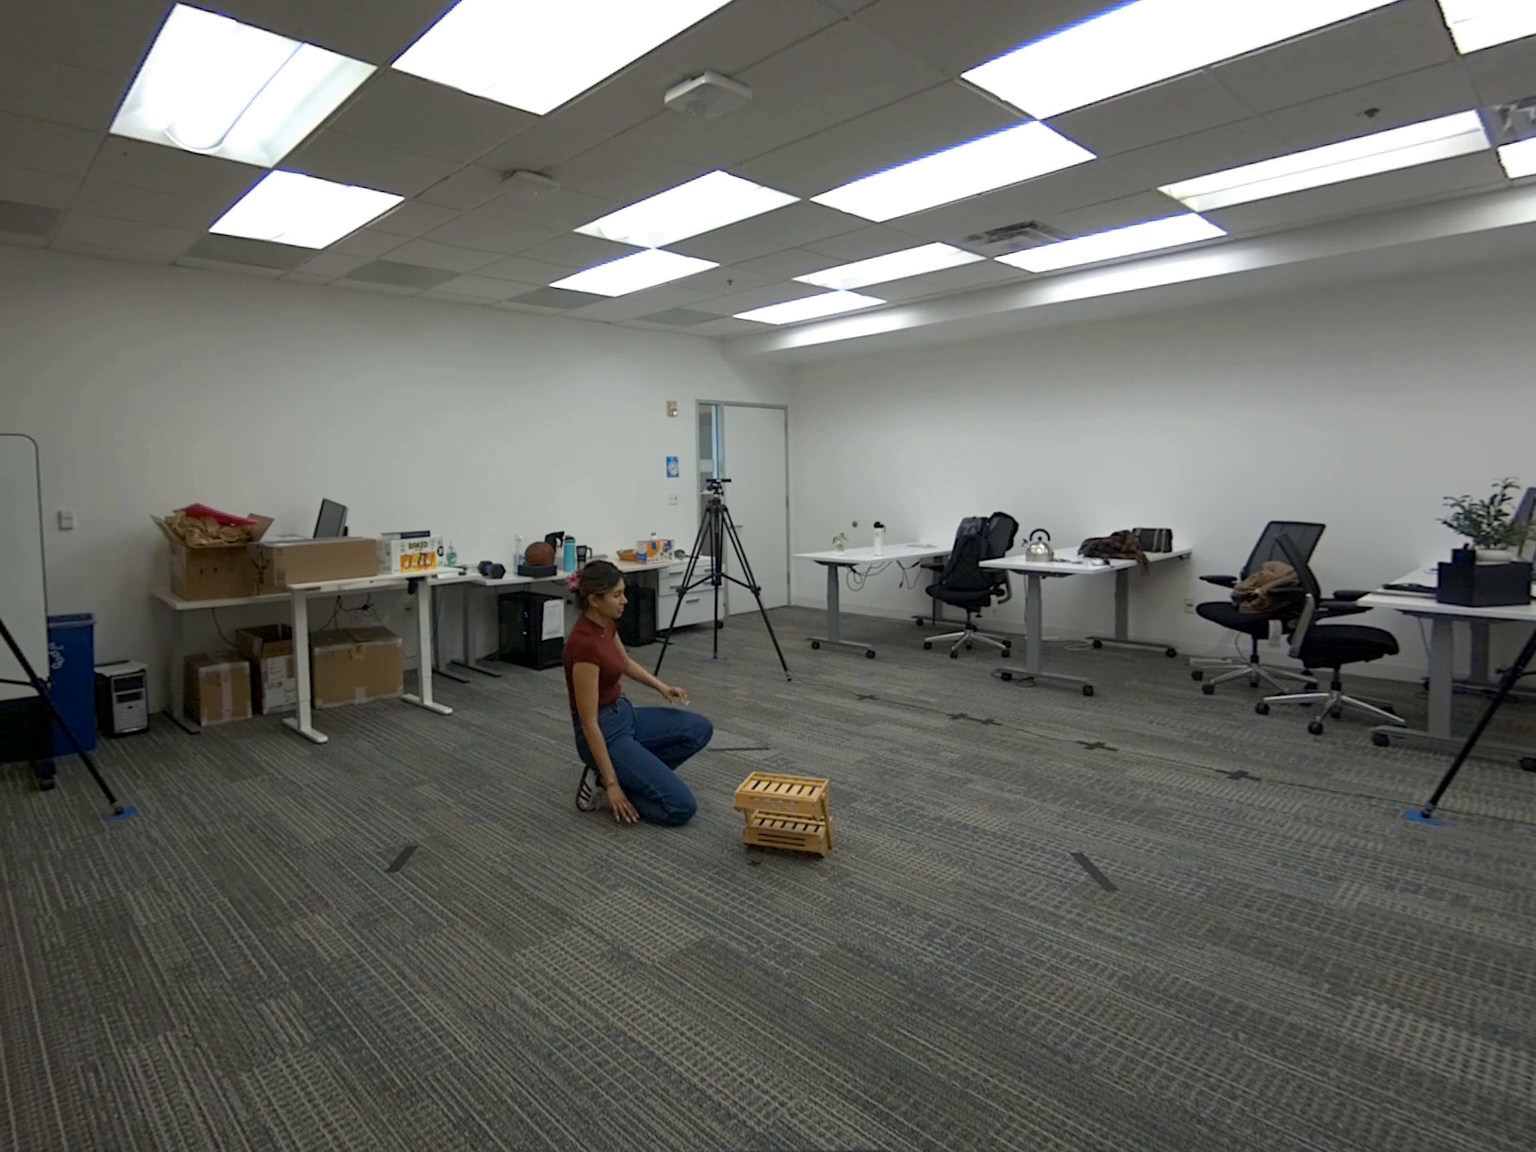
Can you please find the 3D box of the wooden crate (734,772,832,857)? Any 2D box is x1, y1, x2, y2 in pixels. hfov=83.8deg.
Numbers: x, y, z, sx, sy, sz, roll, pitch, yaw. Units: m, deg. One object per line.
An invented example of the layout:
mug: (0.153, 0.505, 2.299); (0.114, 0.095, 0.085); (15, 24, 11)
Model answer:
wooden crate: (0.063, 0.905, 3.184); (0.330, 0.272, 0.298); (1, 6, 18)
